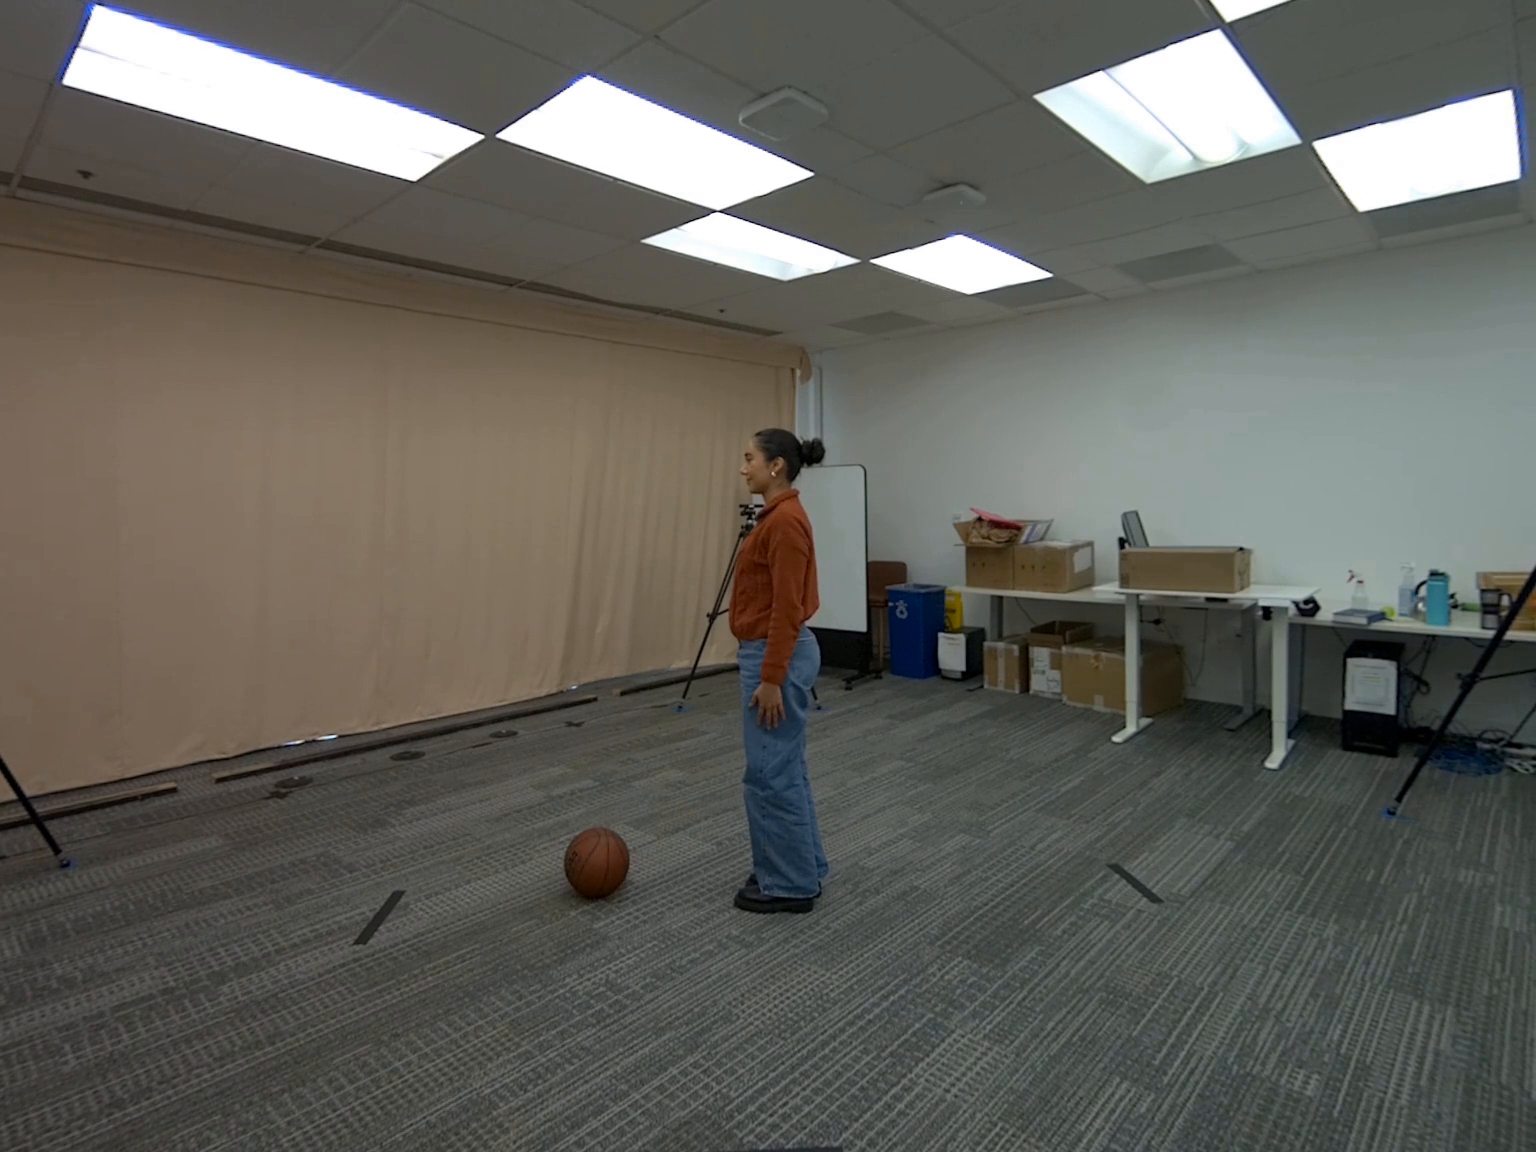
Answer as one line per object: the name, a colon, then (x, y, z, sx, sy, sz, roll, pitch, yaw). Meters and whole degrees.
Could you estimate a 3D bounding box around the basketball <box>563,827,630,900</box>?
basketball: (-0.617, 1.031, 3.041, 0.236, 0.235, 0.237, -1, 4, -2)
